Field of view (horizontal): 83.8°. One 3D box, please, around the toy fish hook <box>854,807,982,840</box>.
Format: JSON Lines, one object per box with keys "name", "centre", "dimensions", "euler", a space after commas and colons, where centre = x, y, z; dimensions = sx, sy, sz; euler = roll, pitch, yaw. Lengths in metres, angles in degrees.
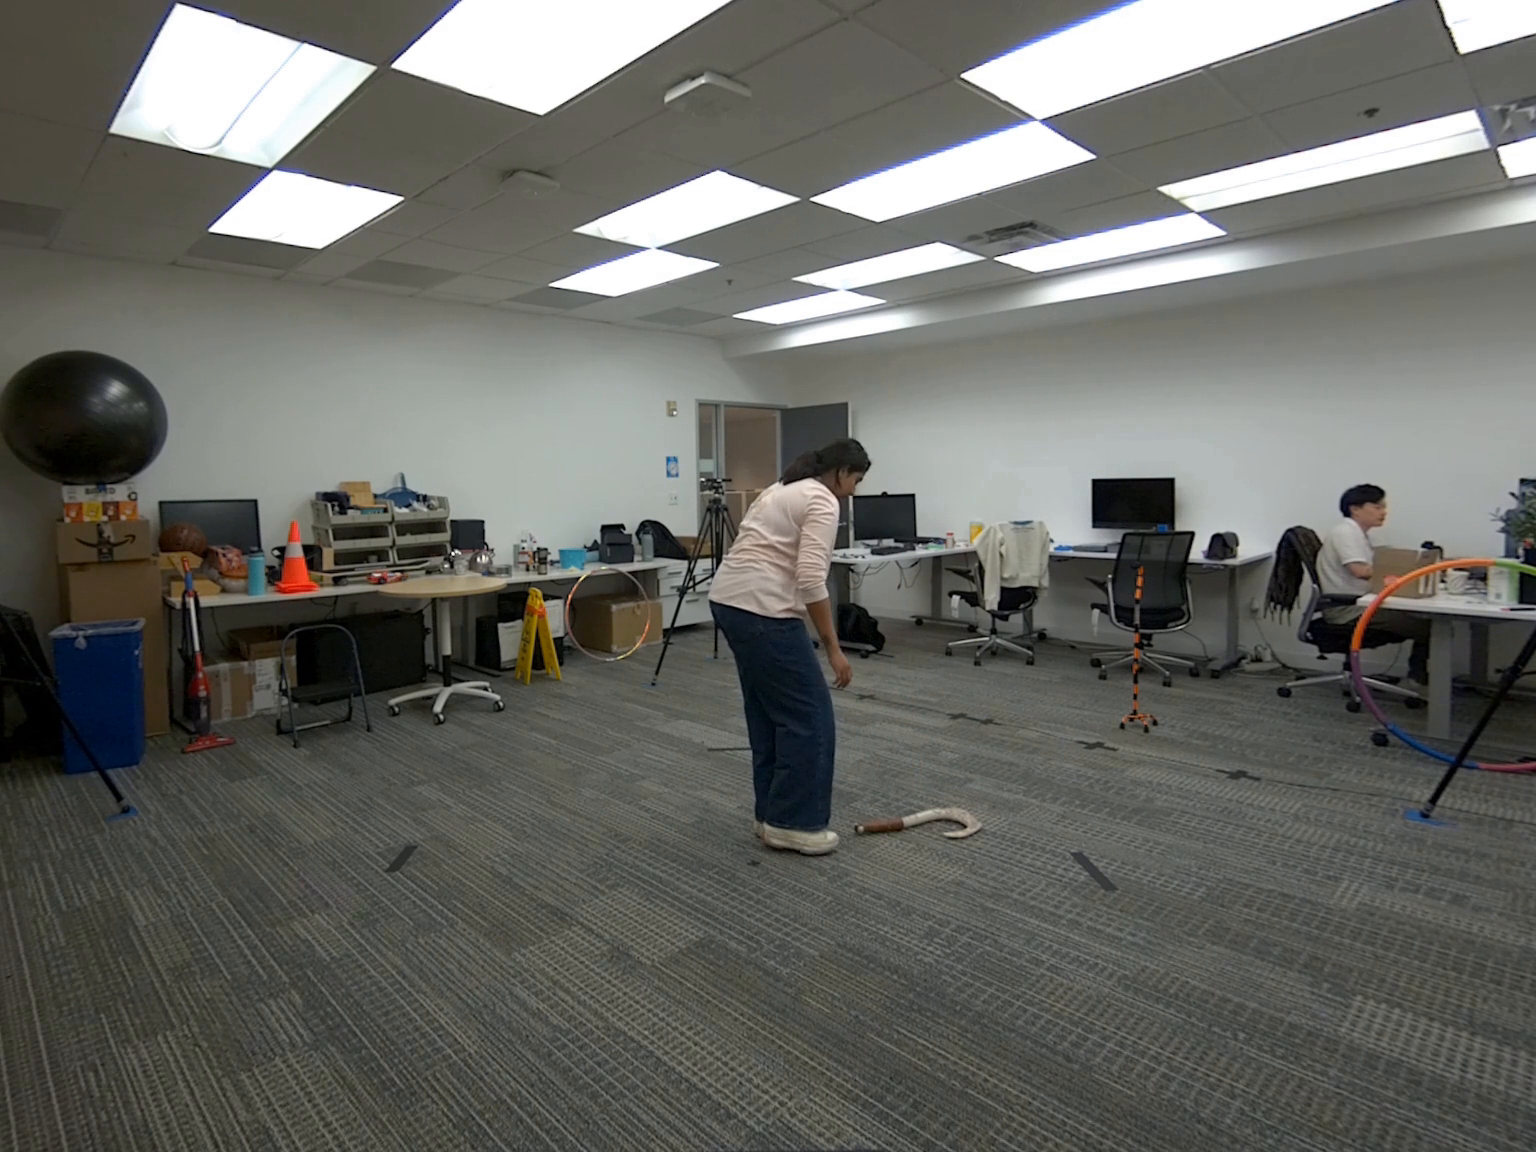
{"name": "toy fish hook", "centre": [0.592, 0.980, 3.349], "dimensions": [0.499, 0.048, 0.229], "euler": [-3, 6, -17]}
